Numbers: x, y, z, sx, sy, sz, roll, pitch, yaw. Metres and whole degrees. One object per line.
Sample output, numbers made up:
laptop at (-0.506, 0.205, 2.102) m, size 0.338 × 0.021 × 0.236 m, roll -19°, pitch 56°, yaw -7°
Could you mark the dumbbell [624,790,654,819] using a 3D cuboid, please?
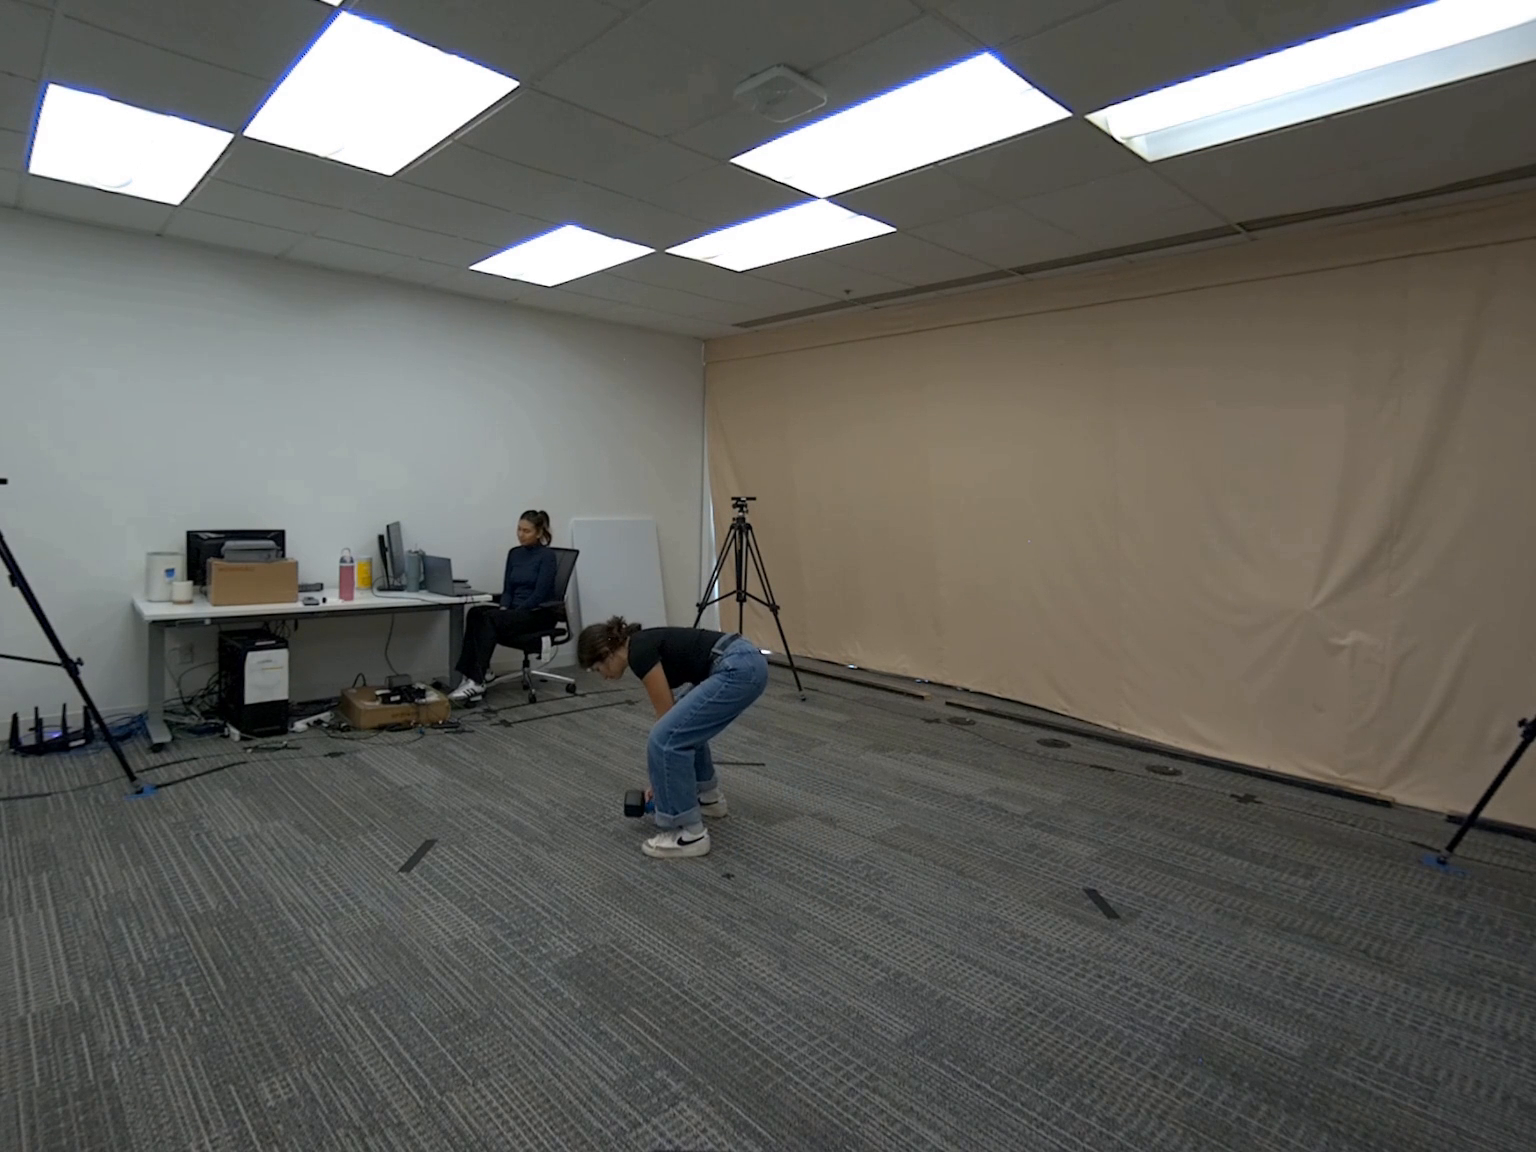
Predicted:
dumbbell at (-0.459, 0.944, 3.516) m, size 0.294 × 0.121 × 0.110 m, roll 3°, pitch 18°, yaw 1°
